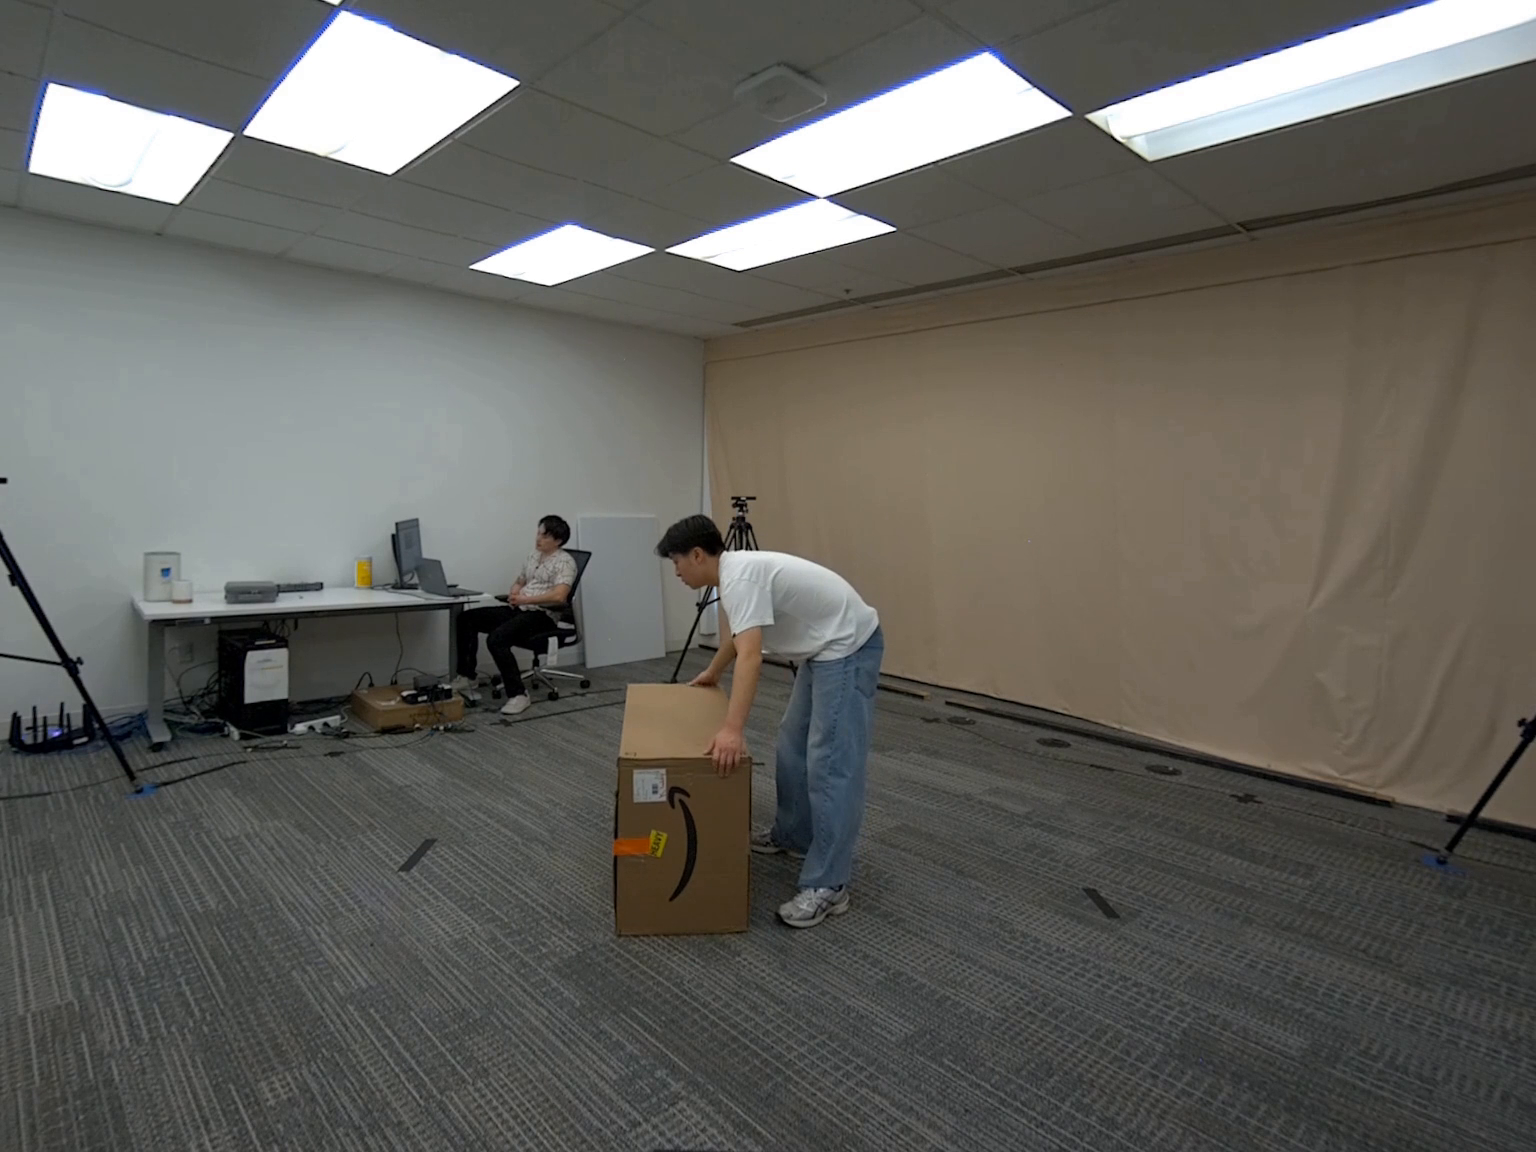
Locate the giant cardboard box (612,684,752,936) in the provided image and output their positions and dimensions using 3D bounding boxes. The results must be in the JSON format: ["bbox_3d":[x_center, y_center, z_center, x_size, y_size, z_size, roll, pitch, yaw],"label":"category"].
[{"bbox_3d":[-0.348,0.802,3.176,0.424,0.576,1.034,1,4,-8],"label":"giant cardboard box"}]
